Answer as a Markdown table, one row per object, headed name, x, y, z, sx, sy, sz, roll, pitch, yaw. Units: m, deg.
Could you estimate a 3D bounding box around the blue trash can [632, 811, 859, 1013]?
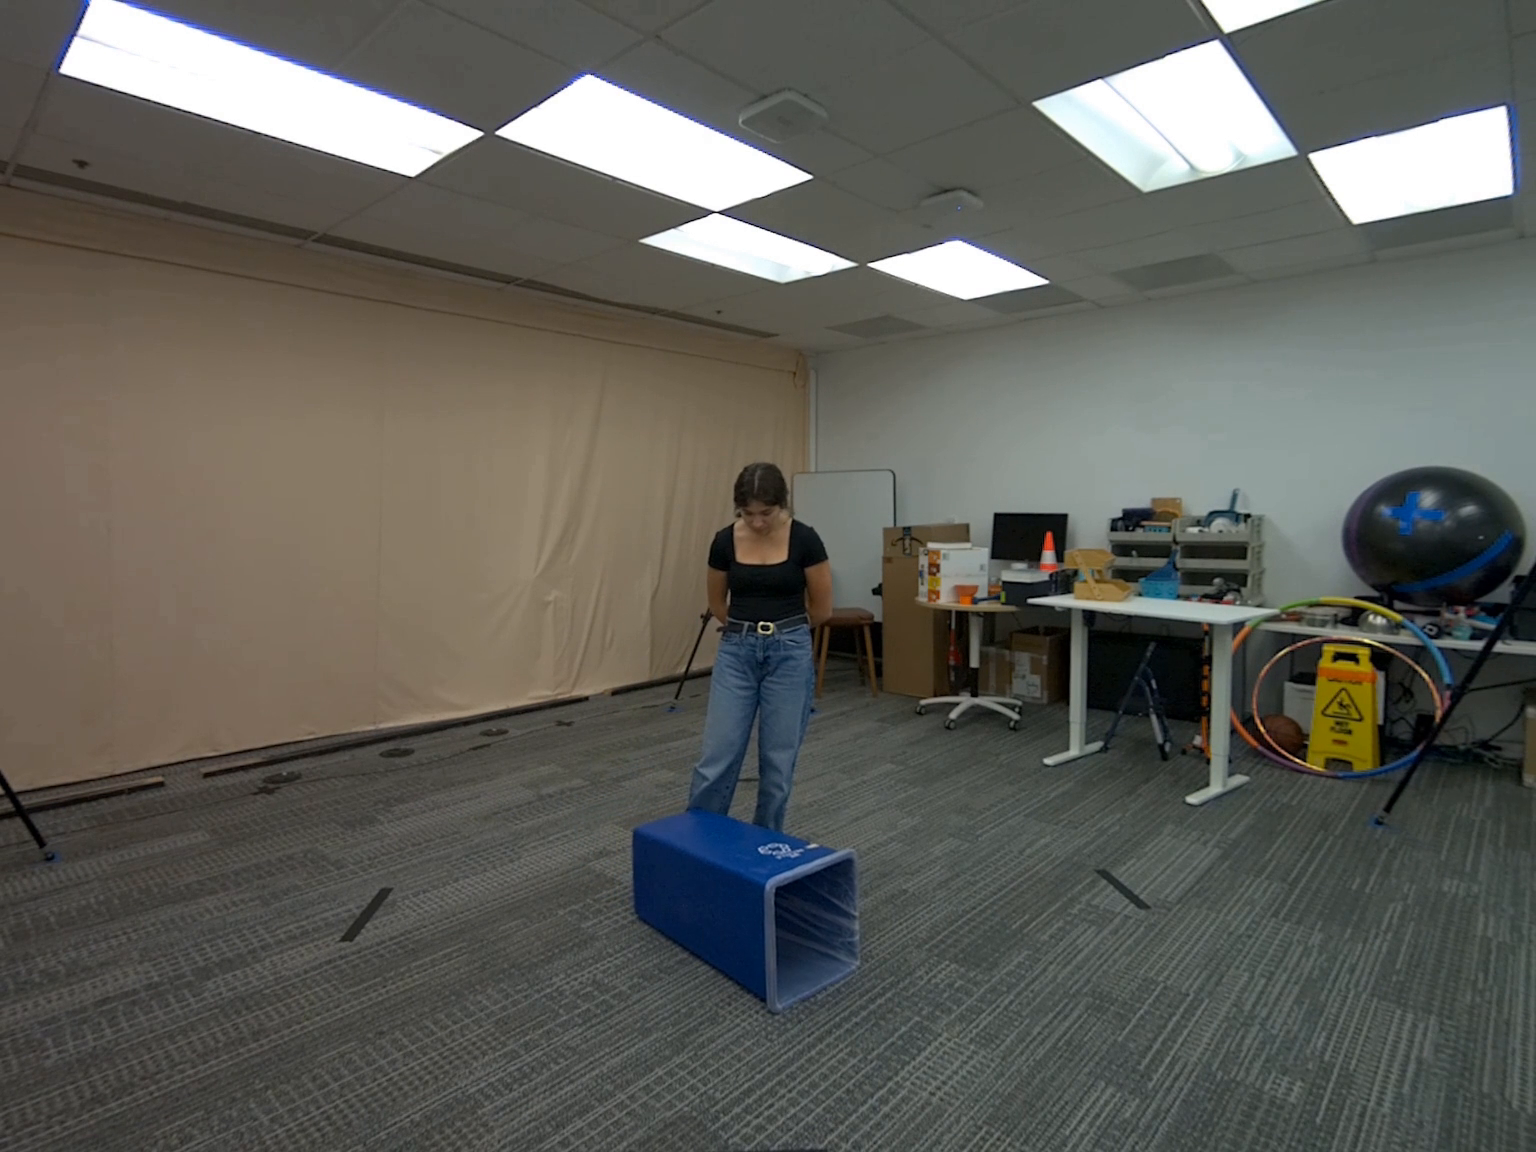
| name | x | y | z | sx | sy | sz | roll | pitch | yaw |
| --- | --- | --- | --- | --- | --- | --- | --- | --- | --- |
| blue trash can | -0.099 | 1.003 | 2.667 | 0.362 | 0.378 | 0.736 | -3 | 2 | -43 |
